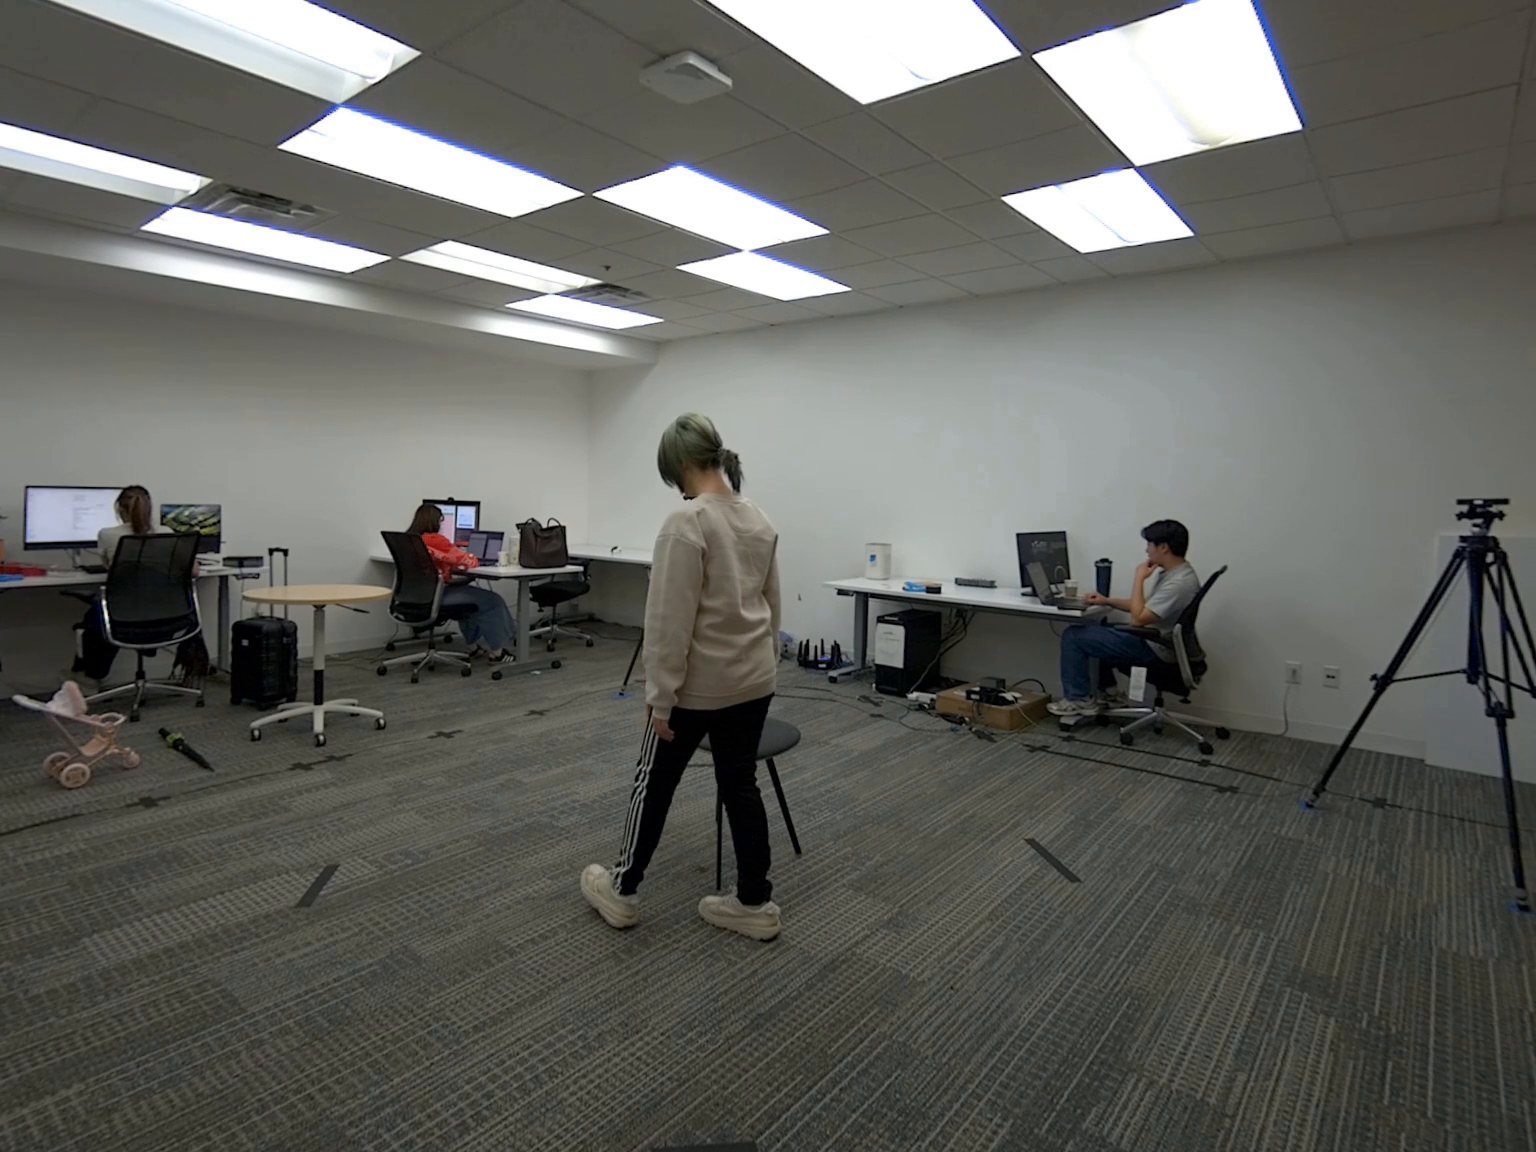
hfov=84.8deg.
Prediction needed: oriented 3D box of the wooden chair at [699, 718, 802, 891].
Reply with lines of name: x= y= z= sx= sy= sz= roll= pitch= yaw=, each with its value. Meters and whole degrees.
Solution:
wooden chair: x=-0.179 y=0.626 z=3.225 sx=0.539 sy=0.878 sz=0.463 roll=-2 pitch=0 yaw=43
